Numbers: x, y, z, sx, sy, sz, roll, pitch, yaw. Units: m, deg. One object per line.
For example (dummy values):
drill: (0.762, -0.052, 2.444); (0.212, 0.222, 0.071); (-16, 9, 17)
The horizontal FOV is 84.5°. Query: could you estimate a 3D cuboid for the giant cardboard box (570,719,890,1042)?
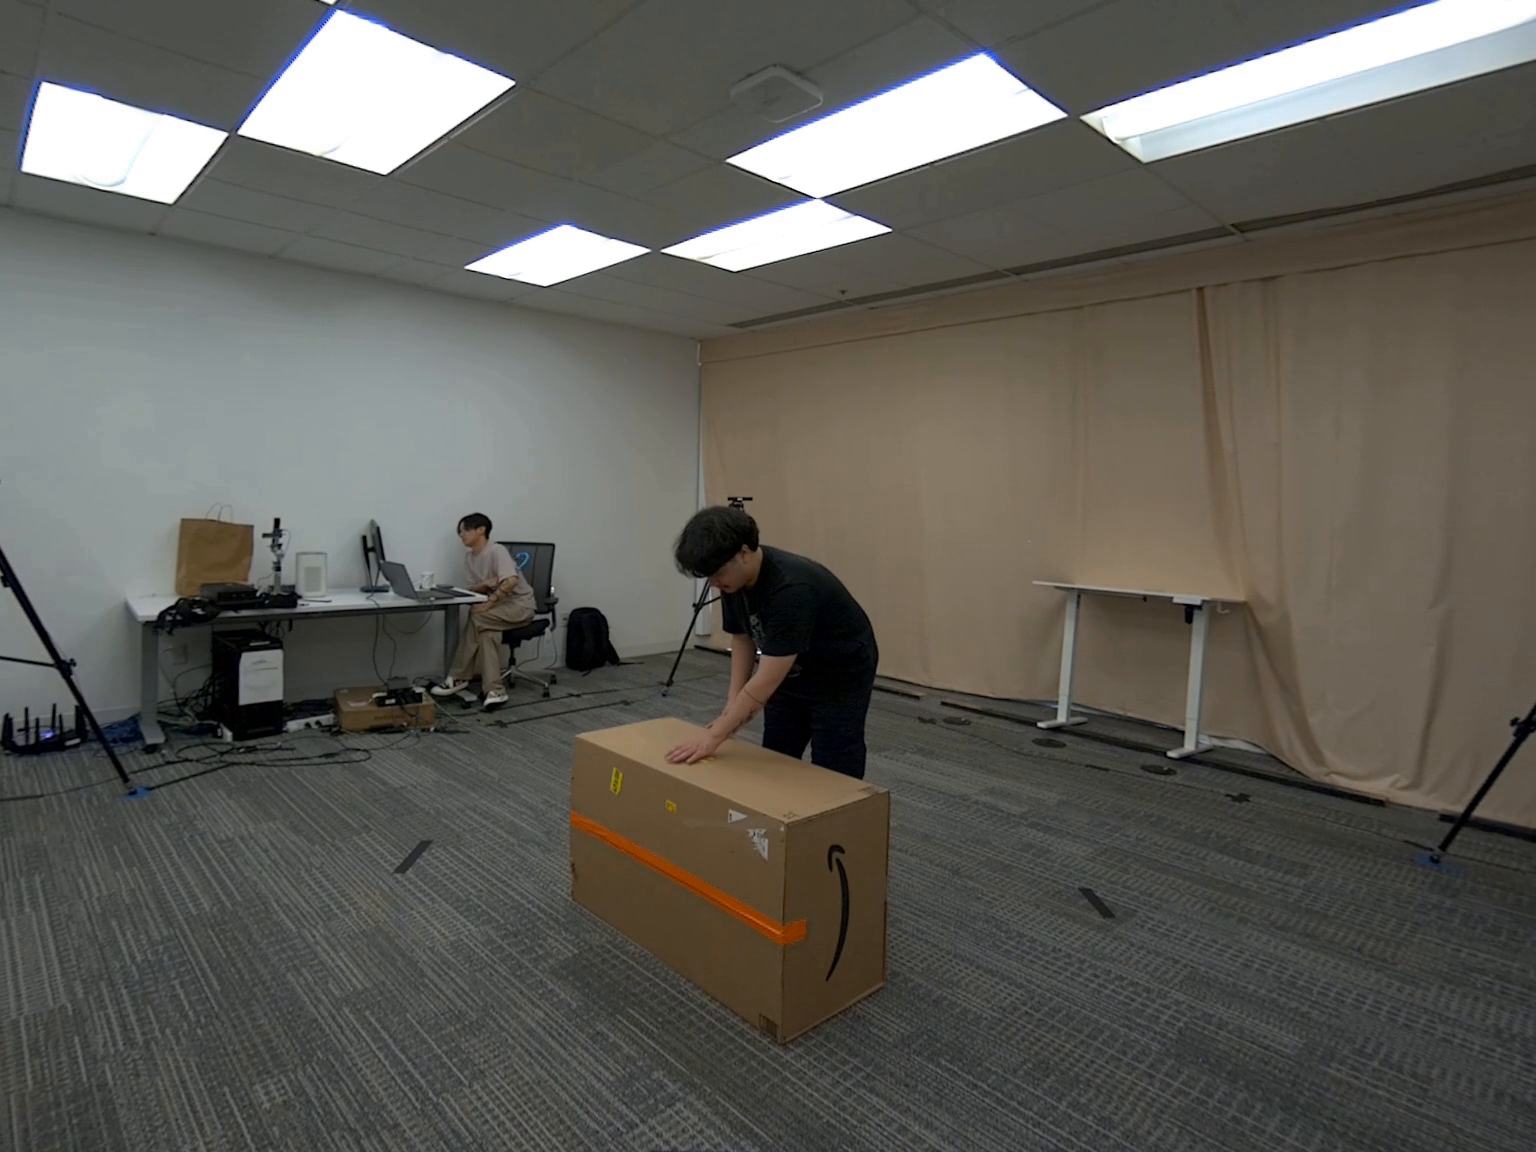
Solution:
giant cardboard box: (-0.173, 0.865, 2.640); (0.437, 0.582, 1.053); (-3, 6, -43)
